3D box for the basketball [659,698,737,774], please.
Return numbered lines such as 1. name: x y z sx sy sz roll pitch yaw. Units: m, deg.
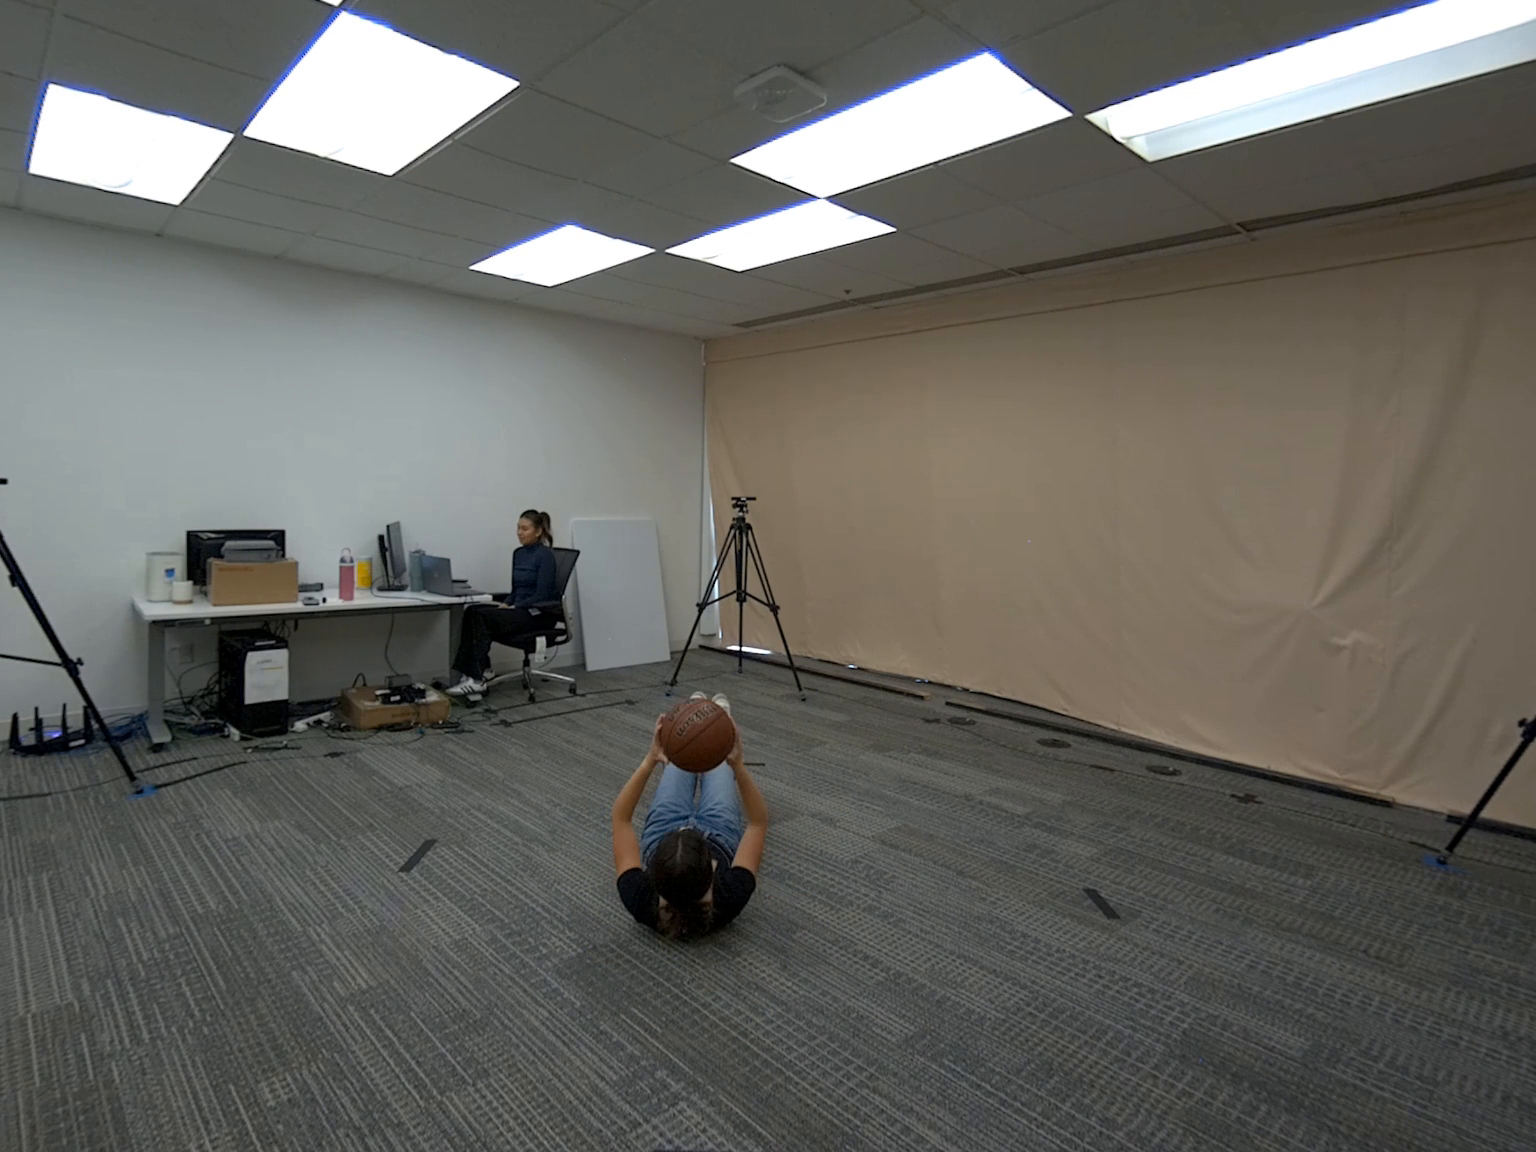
1. basketball: -0.238 0.525 2.746 0.236 0.235 0.237 1 4 -1
